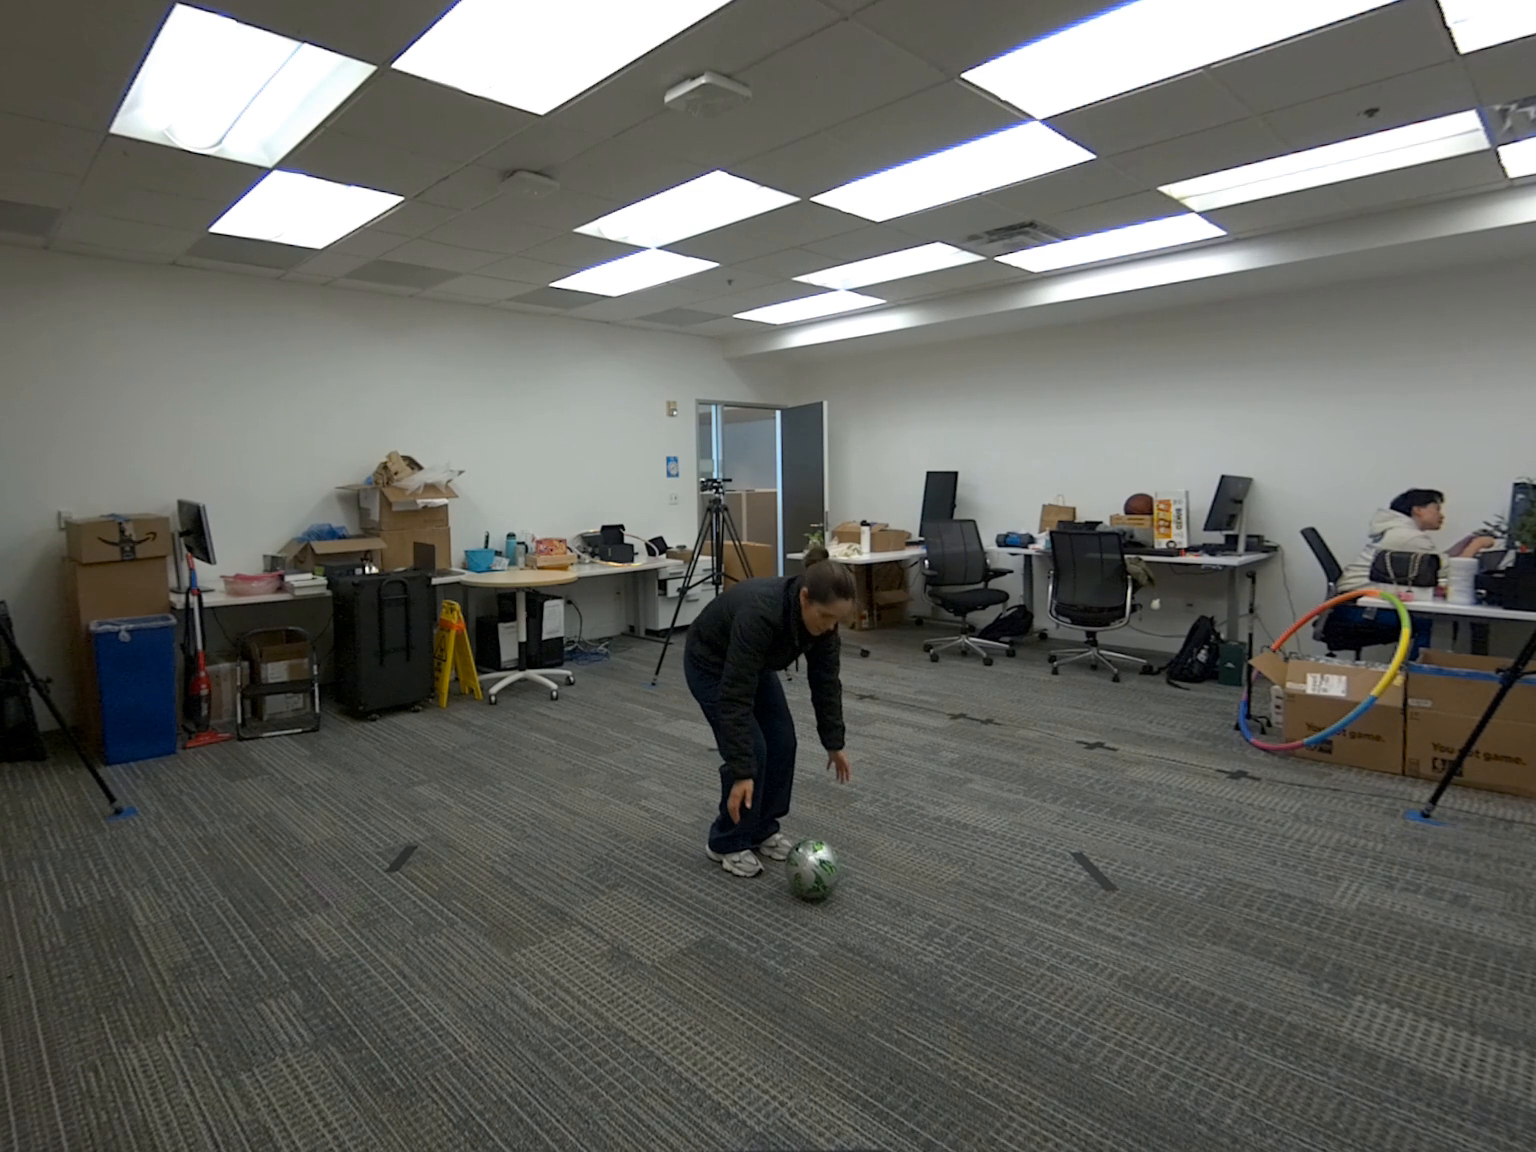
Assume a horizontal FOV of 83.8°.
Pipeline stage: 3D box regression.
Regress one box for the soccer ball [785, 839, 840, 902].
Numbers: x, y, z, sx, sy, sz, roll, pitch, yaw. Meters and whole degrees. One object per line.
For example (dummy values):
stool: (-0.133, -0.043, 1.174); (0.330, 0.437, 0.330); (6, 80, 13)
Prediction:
soccer ball: (0.155, 0.975, 2.849); (0.187, 0.187, 0.188); (-1, 5, -2)
